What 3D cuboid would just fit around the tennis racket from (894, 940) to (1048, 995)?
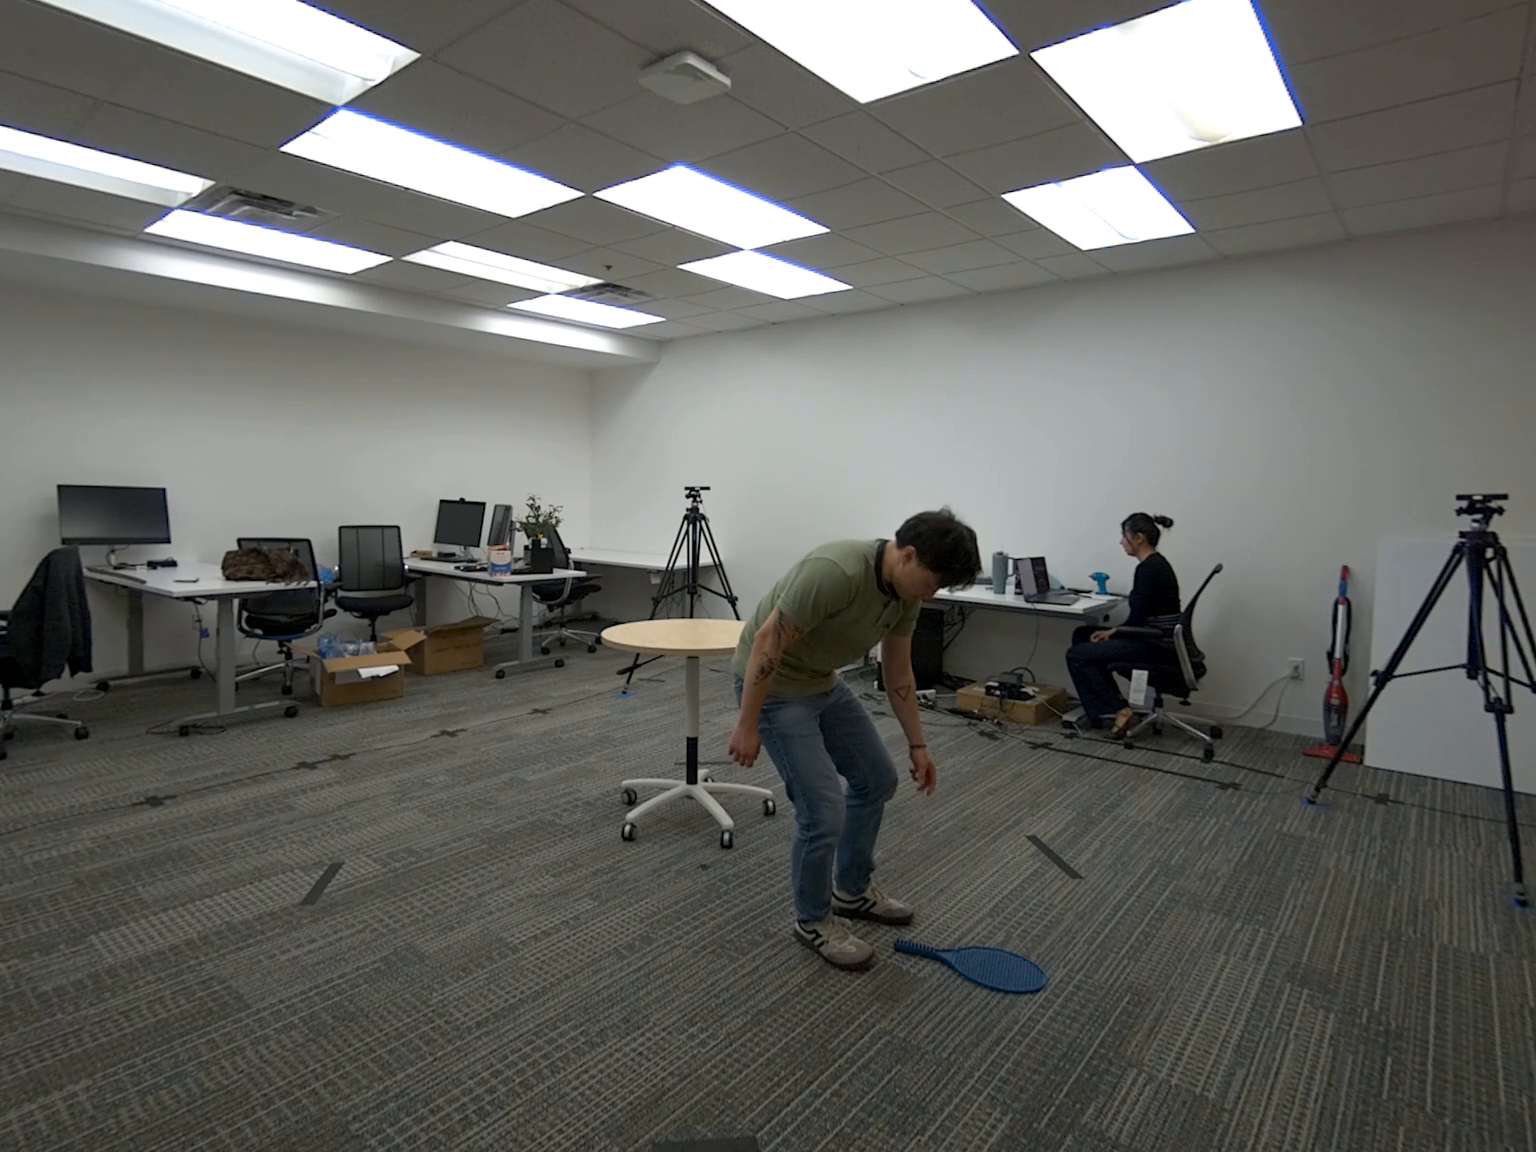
[{"bbox_3d":[0.580,1.125,2.511,0.444,0.031,0.209,5,7,24],"label":"tennis racket"}]
